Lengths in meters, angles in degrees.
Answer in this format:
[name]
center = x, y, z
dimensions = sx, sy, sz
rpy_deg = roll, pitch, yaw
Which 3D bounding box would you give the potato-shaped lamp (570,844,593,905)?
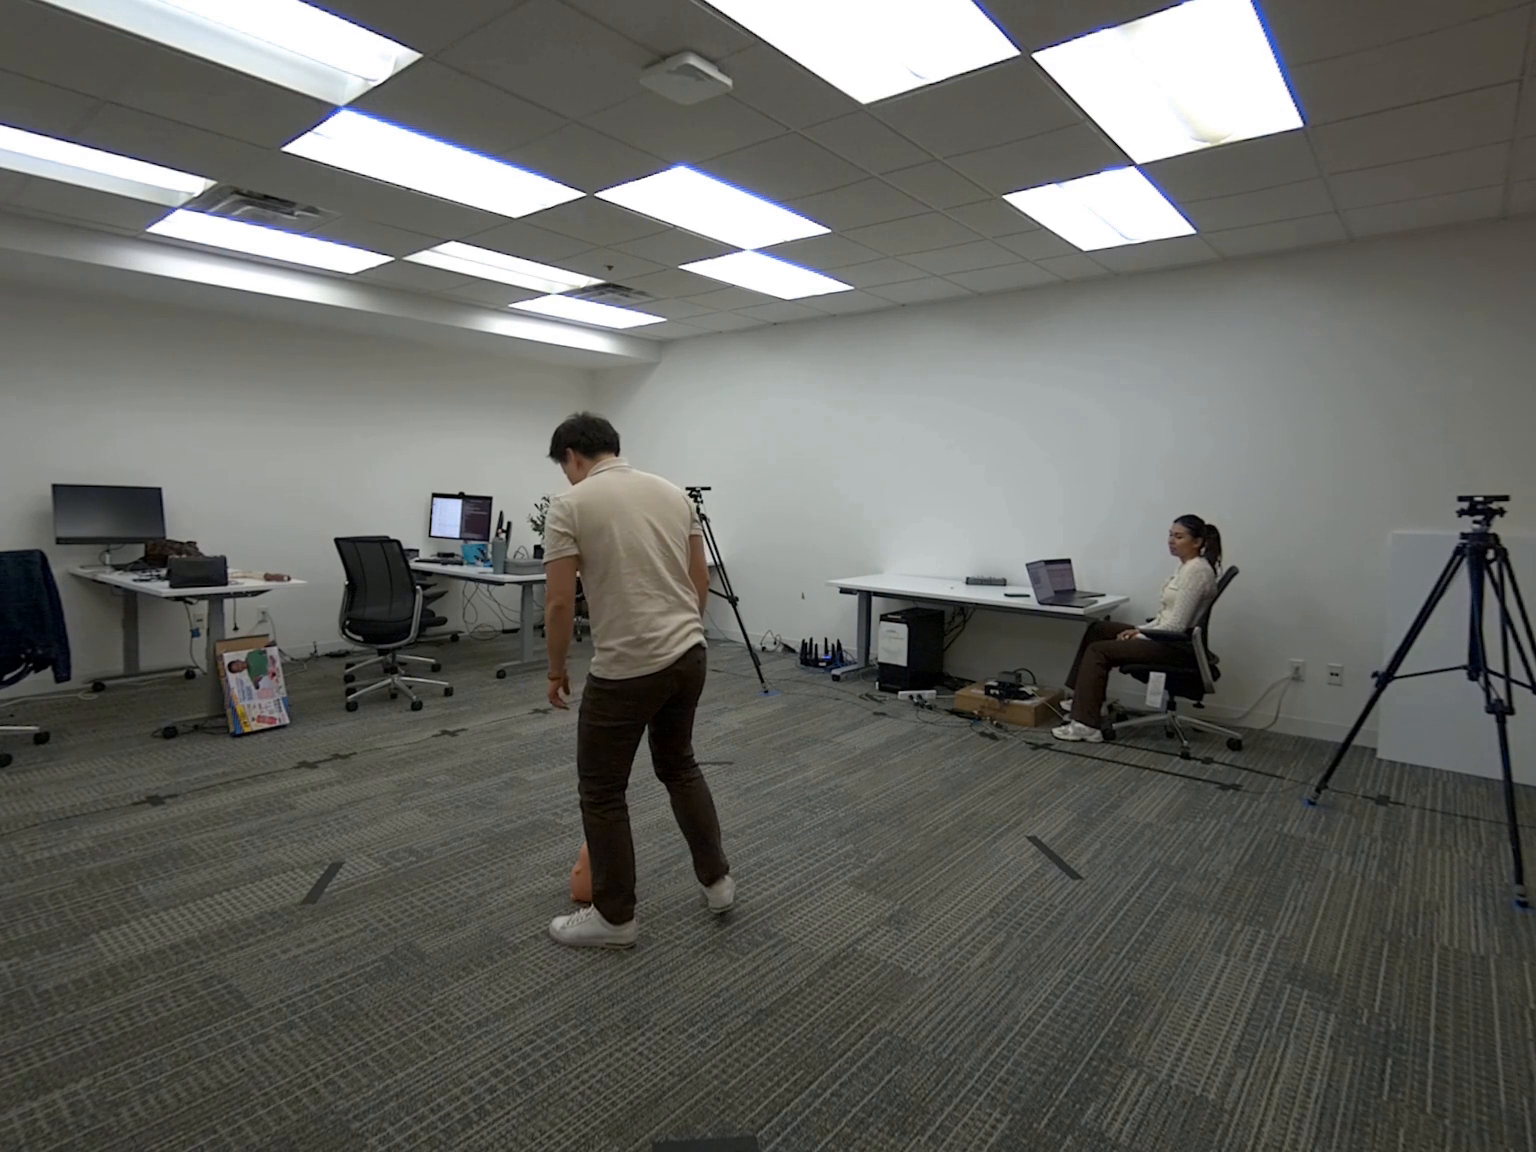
[potato-shaped lamp]
center = -0.592, 0.986, 2.877
dimensions = 0.172, 0.197, 0.165
rpy_deg = 1, 7, 3
